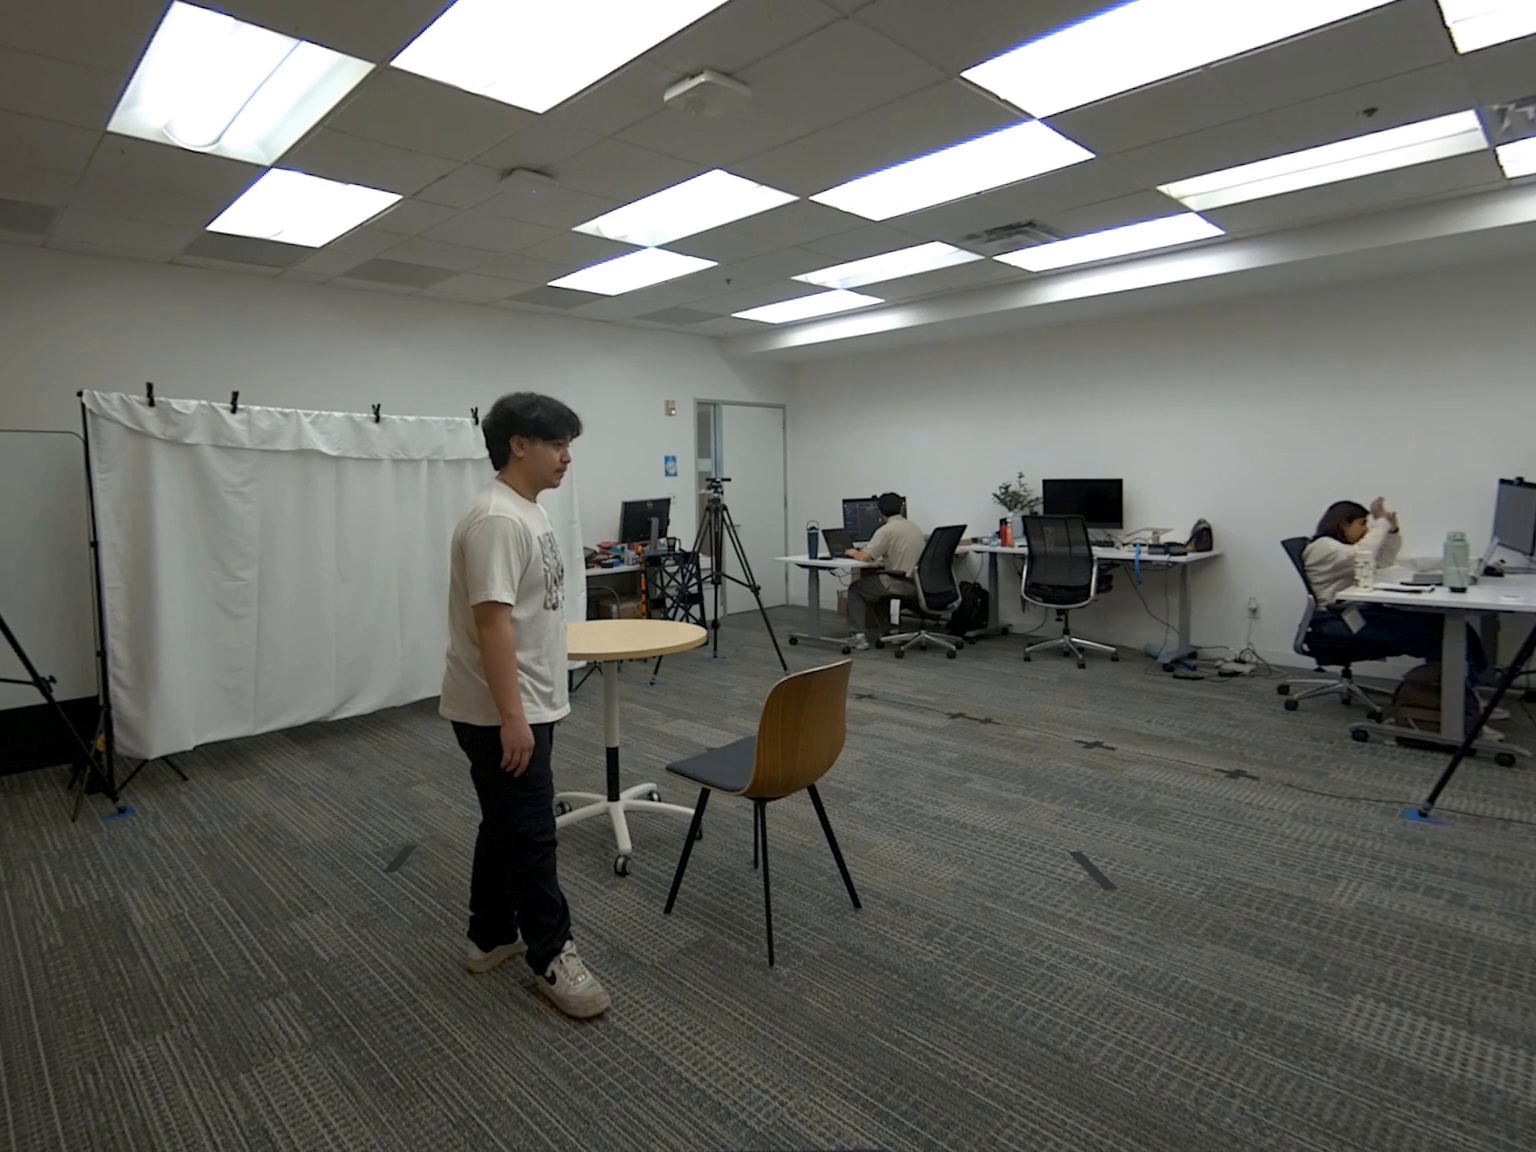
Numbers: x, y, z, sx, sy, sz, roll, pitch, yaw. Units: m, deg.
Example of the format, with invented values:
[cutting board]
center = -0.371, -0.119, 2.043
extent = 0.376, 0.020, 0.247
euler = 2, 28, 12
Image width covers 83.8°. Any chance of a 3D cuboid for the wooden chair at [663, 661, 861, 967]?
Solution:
[wooden chair]
center = -0.026, 0.656, 2.733
extent = 0.540, 0.872, 0.465
euler = 9, 10, 42
